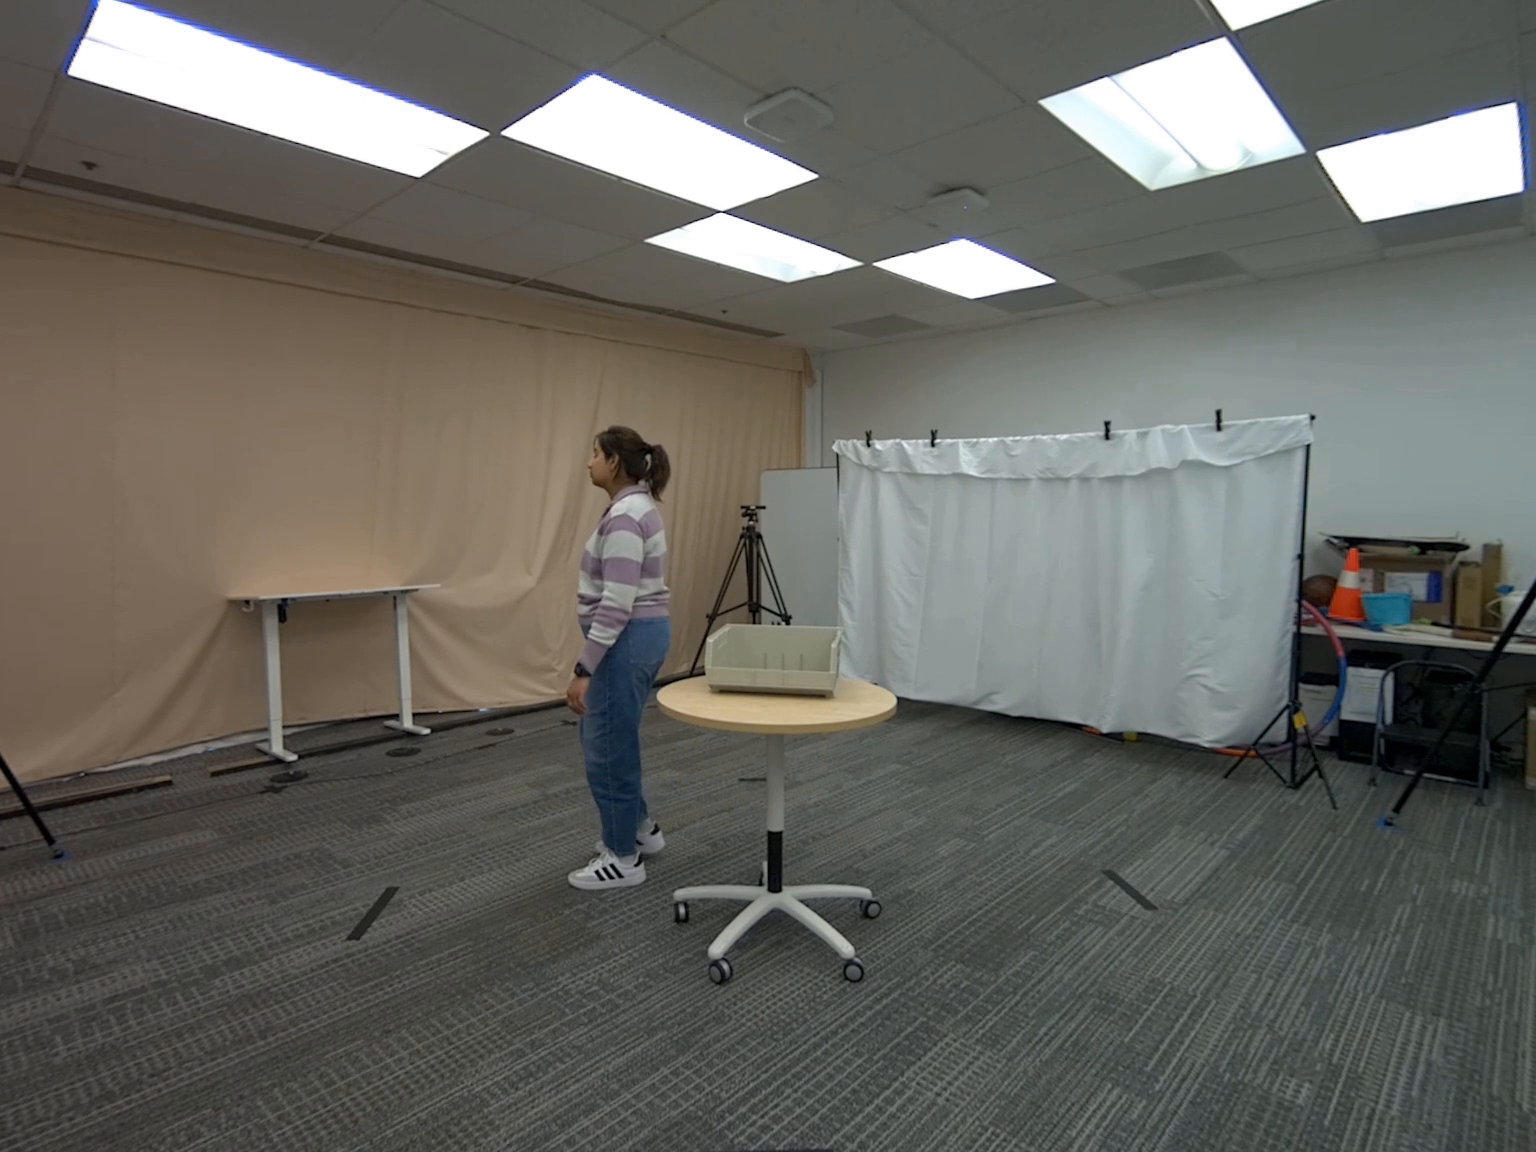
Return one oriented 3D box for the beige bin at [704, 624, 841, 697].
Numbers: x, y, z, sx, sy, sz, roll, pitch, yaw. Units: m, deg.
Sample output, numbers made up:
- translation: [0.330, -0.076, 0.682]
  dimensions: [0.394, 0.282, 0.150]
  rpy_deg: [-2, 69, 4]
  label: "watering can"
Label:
- translation: [0.033, 0.282, 2.833]
  dimensions: [0.427, 0.189, 0.373]
  rpy_deg: [1, 3, 10]
  label: "beige bin"
